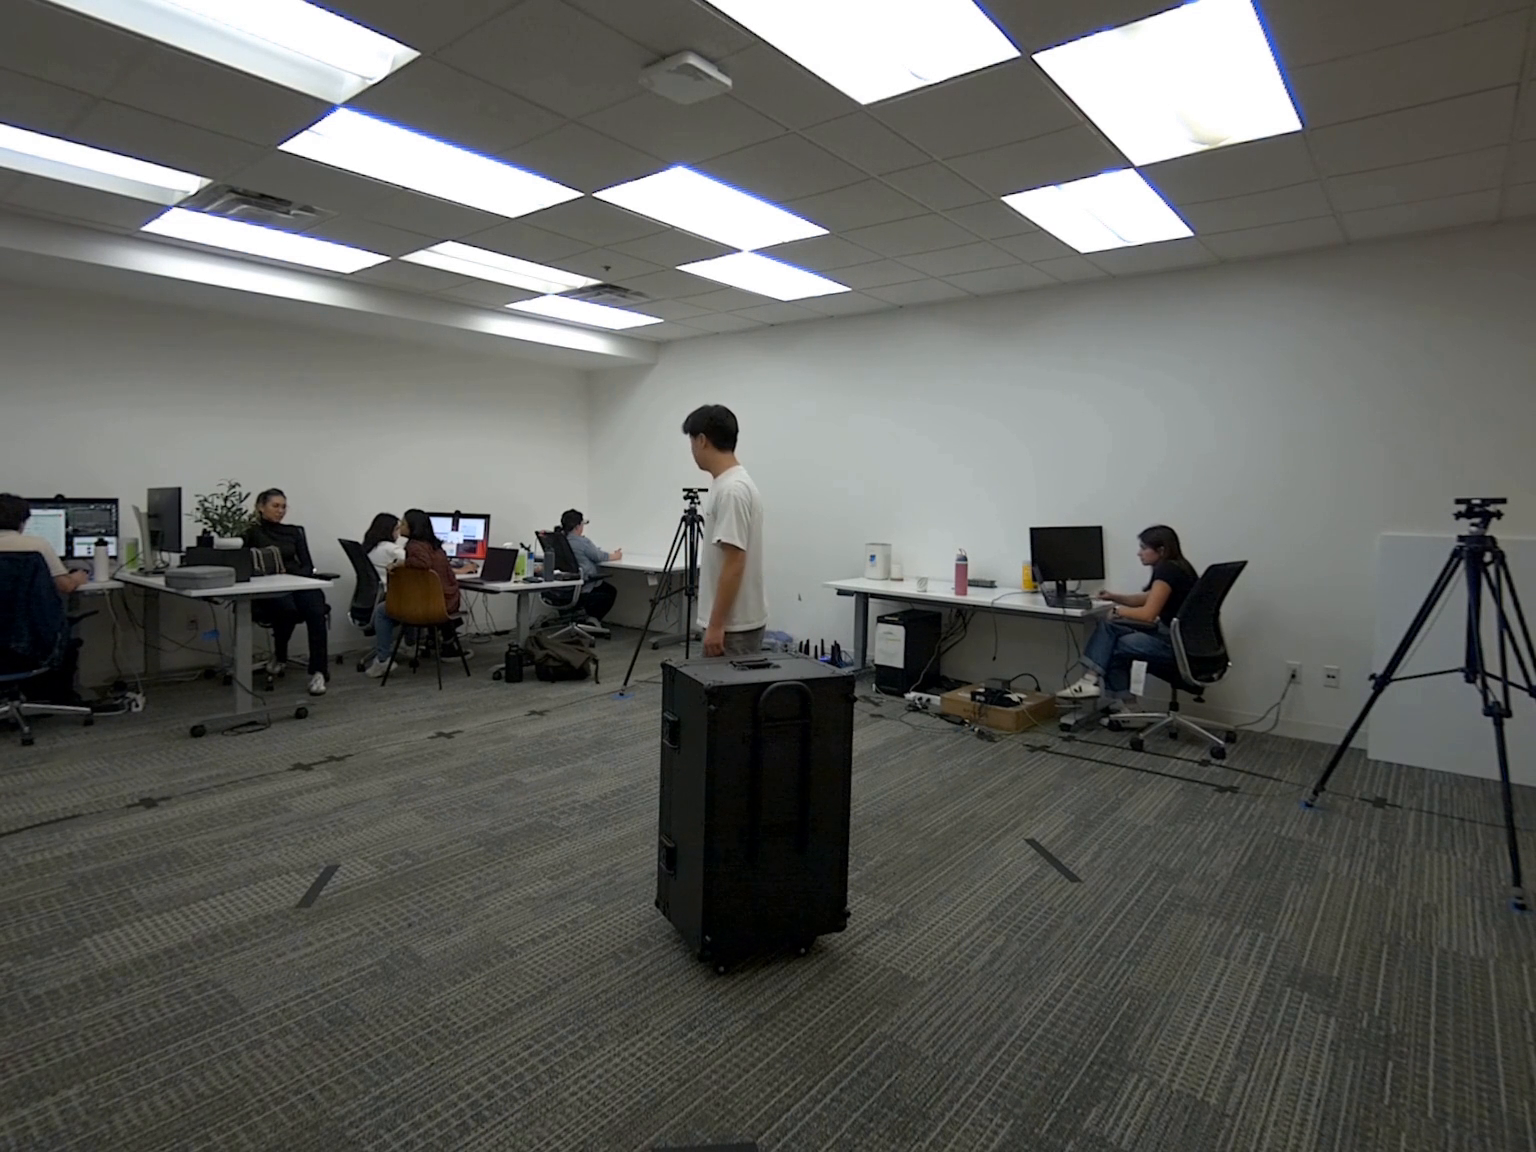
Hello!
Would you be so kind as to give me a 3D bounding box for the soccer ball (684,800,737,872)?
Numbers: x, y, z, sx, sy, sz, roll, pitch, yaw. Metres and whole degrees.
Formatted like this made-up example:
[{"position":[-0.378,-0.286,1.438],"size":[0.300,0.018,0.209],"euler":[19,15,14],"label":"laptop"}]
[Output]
[{"position":[-0.215,0.962,3.127],"size":[0.187,0.187,0.188],"euler":[1,4,-2],"label":"soccer ball"}]
